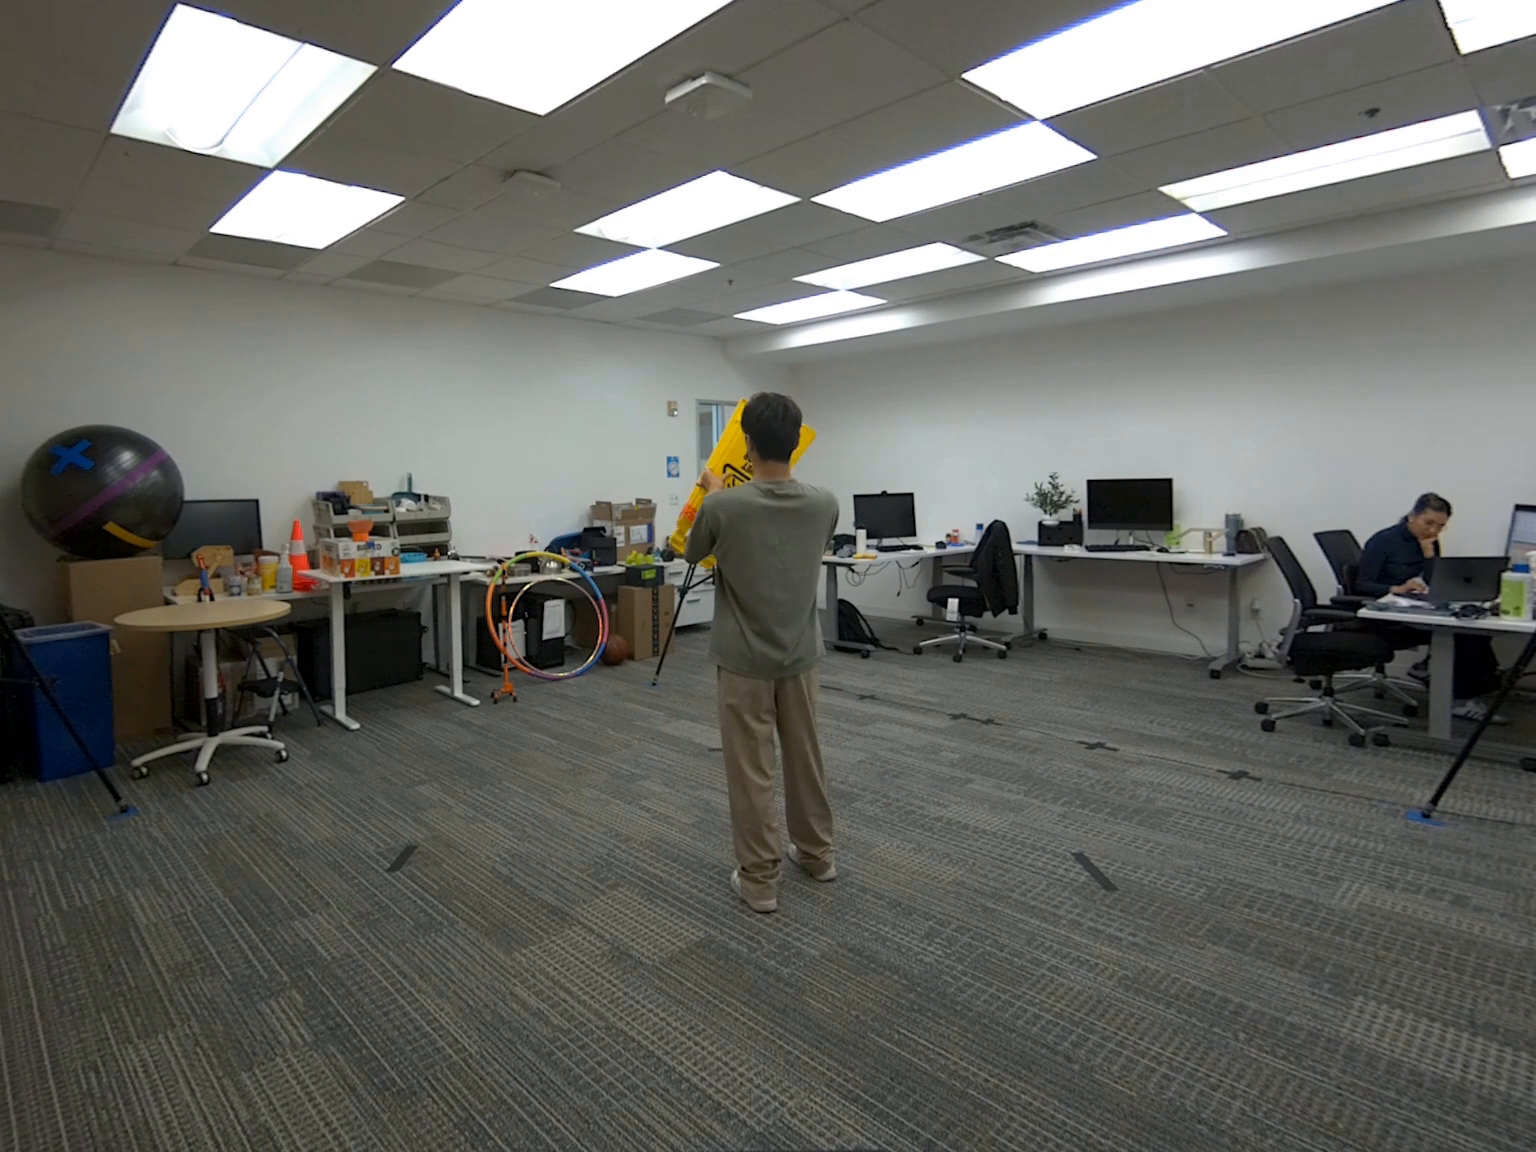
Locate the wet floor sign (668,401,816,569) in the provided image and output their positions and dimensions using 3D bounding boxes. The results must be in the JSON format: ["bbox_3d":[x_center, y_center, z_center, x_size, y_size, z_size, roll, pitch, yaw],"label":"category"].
[{"bbox_3d":[-0.128,-0.344,3.266,0.277,0.647,0.295,32,-5,-15],"label":"wet floor sign"}]
